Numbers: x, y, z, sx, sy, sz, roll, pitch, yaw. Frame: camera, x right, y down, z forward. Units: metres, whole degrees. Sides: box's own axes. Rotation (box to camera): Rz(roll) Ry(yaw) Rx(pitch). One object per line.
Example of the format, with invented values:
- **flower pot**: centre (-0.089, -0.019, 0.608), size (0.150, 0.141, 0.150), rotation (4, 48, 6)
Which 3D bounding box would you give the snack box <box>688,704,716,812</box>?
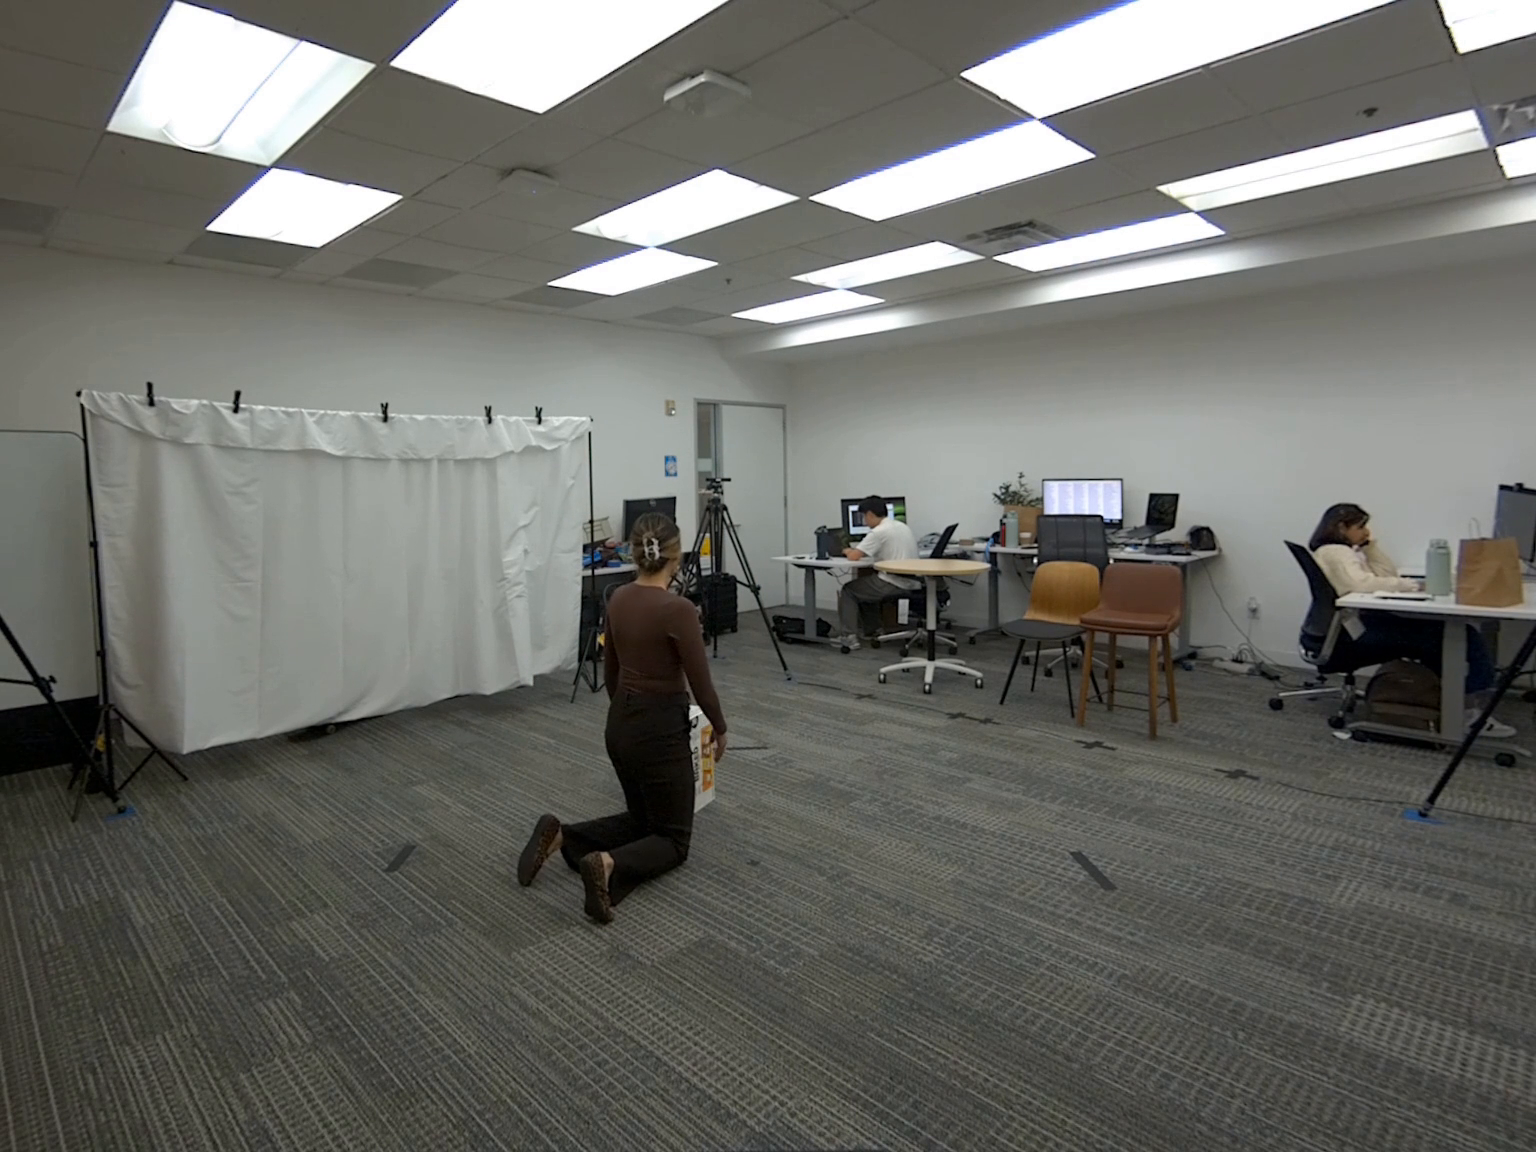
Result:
- **snack box**: centre (-0.430, 0.774, 3.712), size (0.348, 0.404, 0.201), rotation (1, 4, 26)
